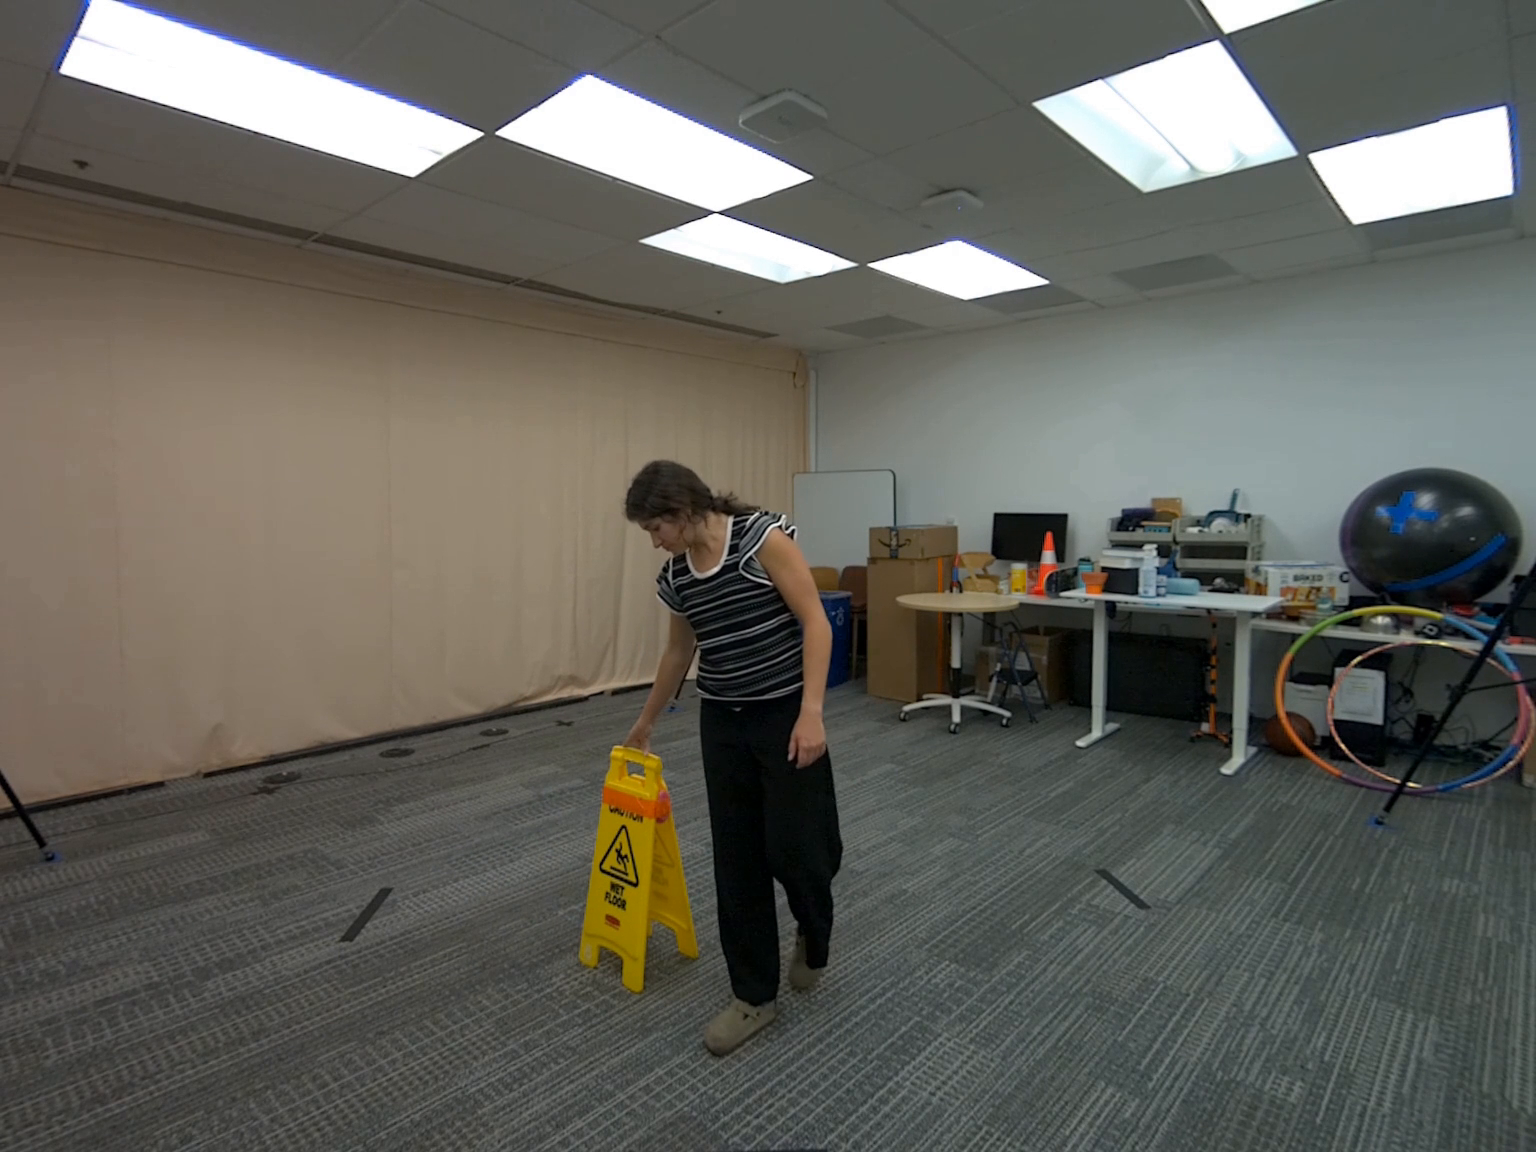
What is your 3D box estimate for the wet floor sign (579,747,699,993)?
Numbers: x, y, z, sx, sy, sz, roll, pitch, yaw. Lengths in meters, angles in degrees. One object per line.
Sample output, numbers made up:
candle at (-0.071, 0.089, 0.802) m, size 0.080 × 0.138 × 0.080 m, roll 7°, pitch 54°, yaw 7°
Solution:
wet floor sign at (-0.401, 0.858, 2.568) m, size 0.291 × 0.644 × 0.281 m, roll 1°, pitch 4°, yaw 38°
